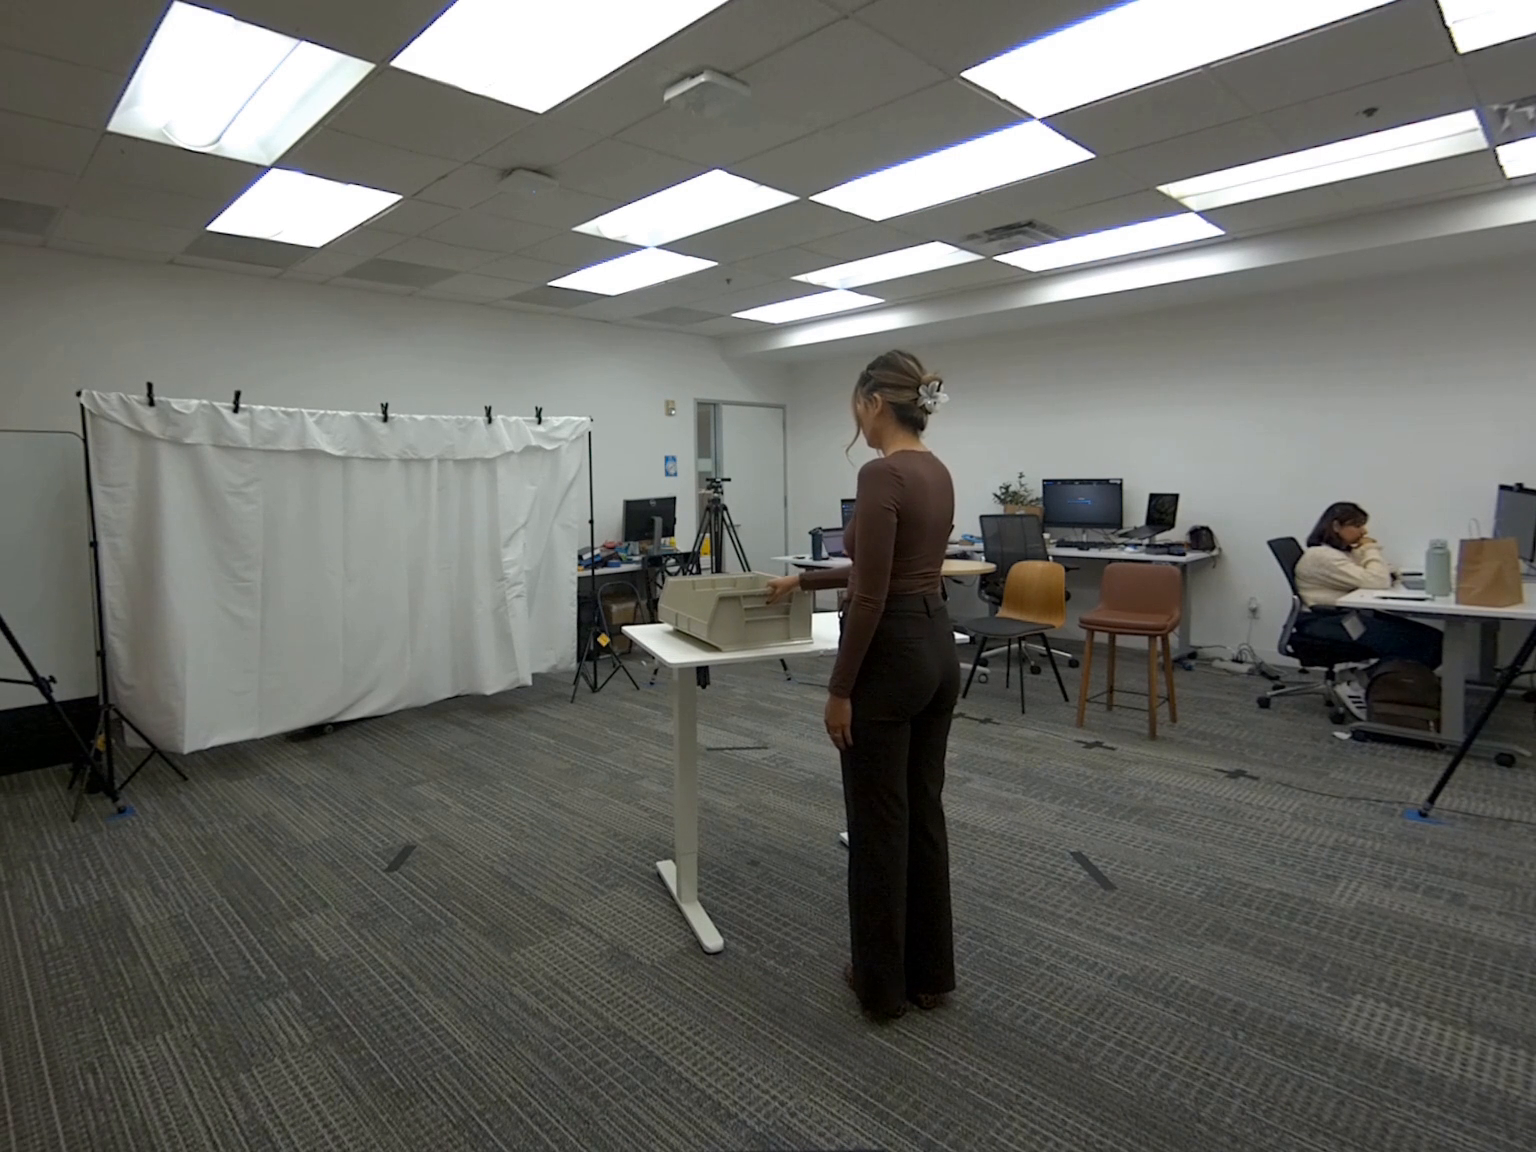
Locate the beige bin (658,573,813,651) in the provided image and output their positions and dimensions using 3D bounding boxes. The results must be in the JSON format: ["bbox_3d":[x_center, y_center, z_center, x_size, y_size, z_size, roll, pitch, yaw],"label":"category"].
[{"bbox_3d":[-0.105,0.110,2.758,0.369,0.188,0.433,-3,6,-26],"label":"beige bin"}]
